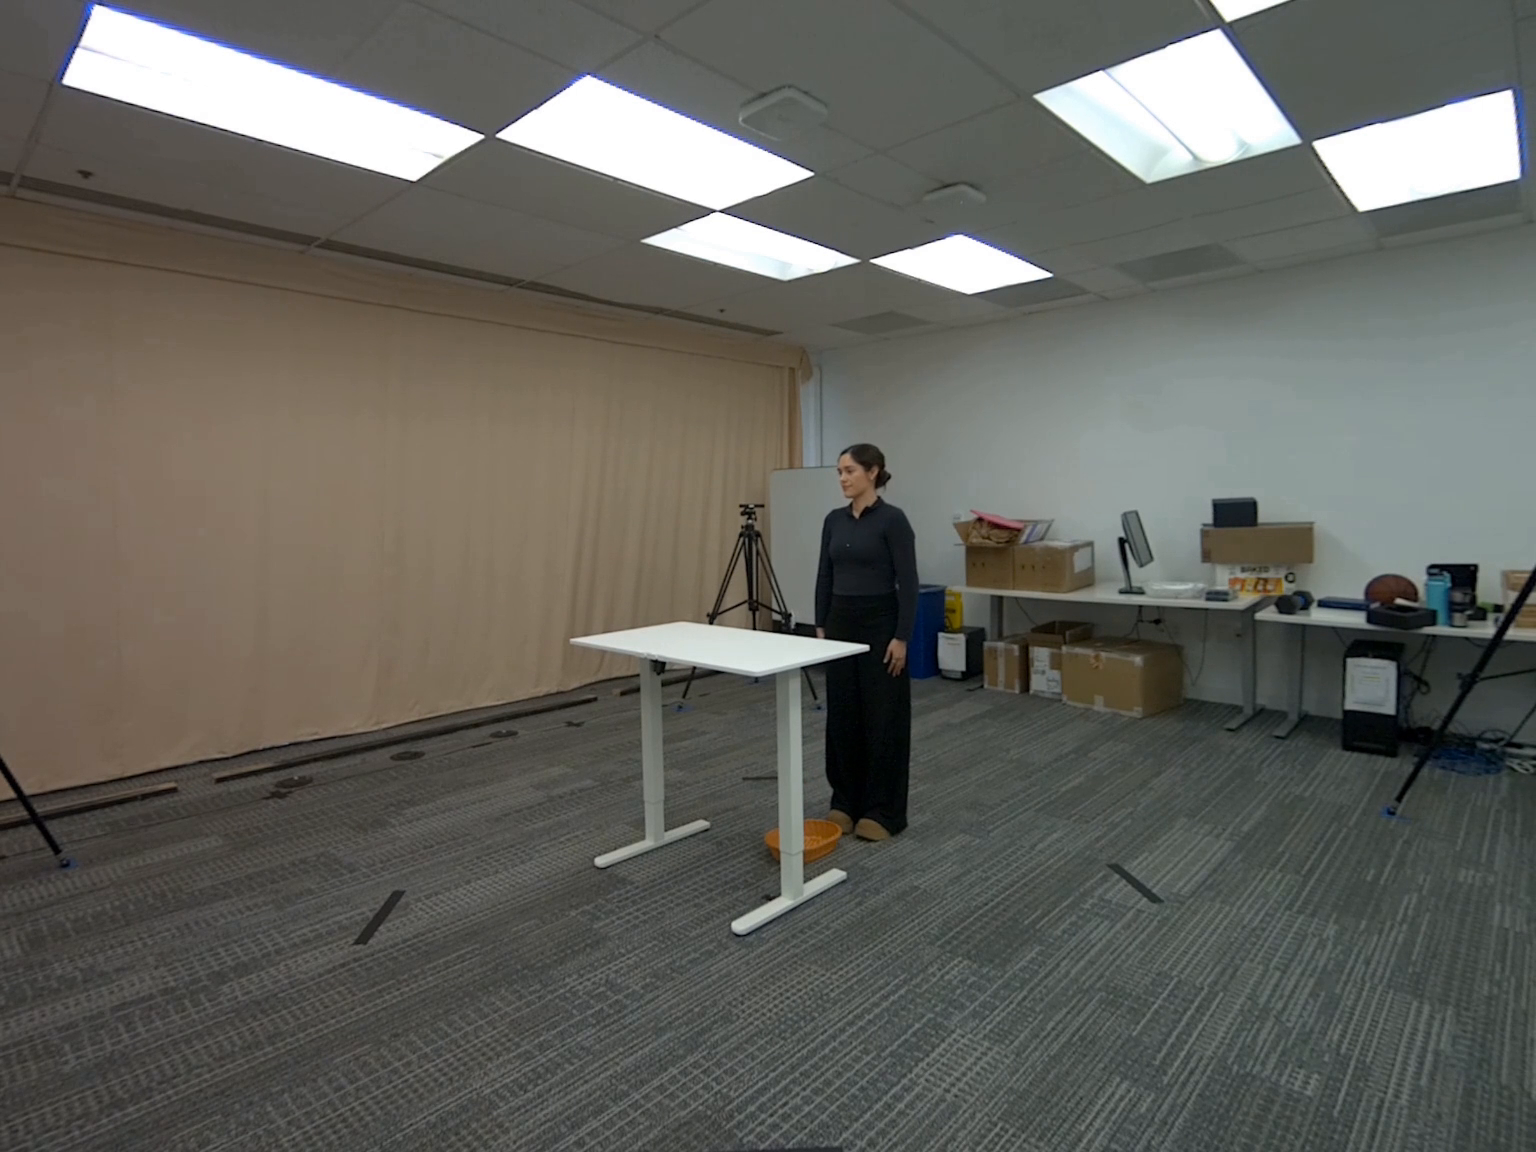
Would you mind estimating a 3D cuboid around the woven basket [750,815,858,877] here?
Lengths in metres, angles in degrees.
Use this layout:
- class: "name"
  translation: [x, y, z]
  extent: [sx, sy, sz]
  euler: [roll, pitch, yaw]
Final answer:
- class: "woven basket"
  translation: [0.142, 1.065, 3.366]
  extent: [0.261, 0.073, 0.340]
  euler: [3, 6, 45]
